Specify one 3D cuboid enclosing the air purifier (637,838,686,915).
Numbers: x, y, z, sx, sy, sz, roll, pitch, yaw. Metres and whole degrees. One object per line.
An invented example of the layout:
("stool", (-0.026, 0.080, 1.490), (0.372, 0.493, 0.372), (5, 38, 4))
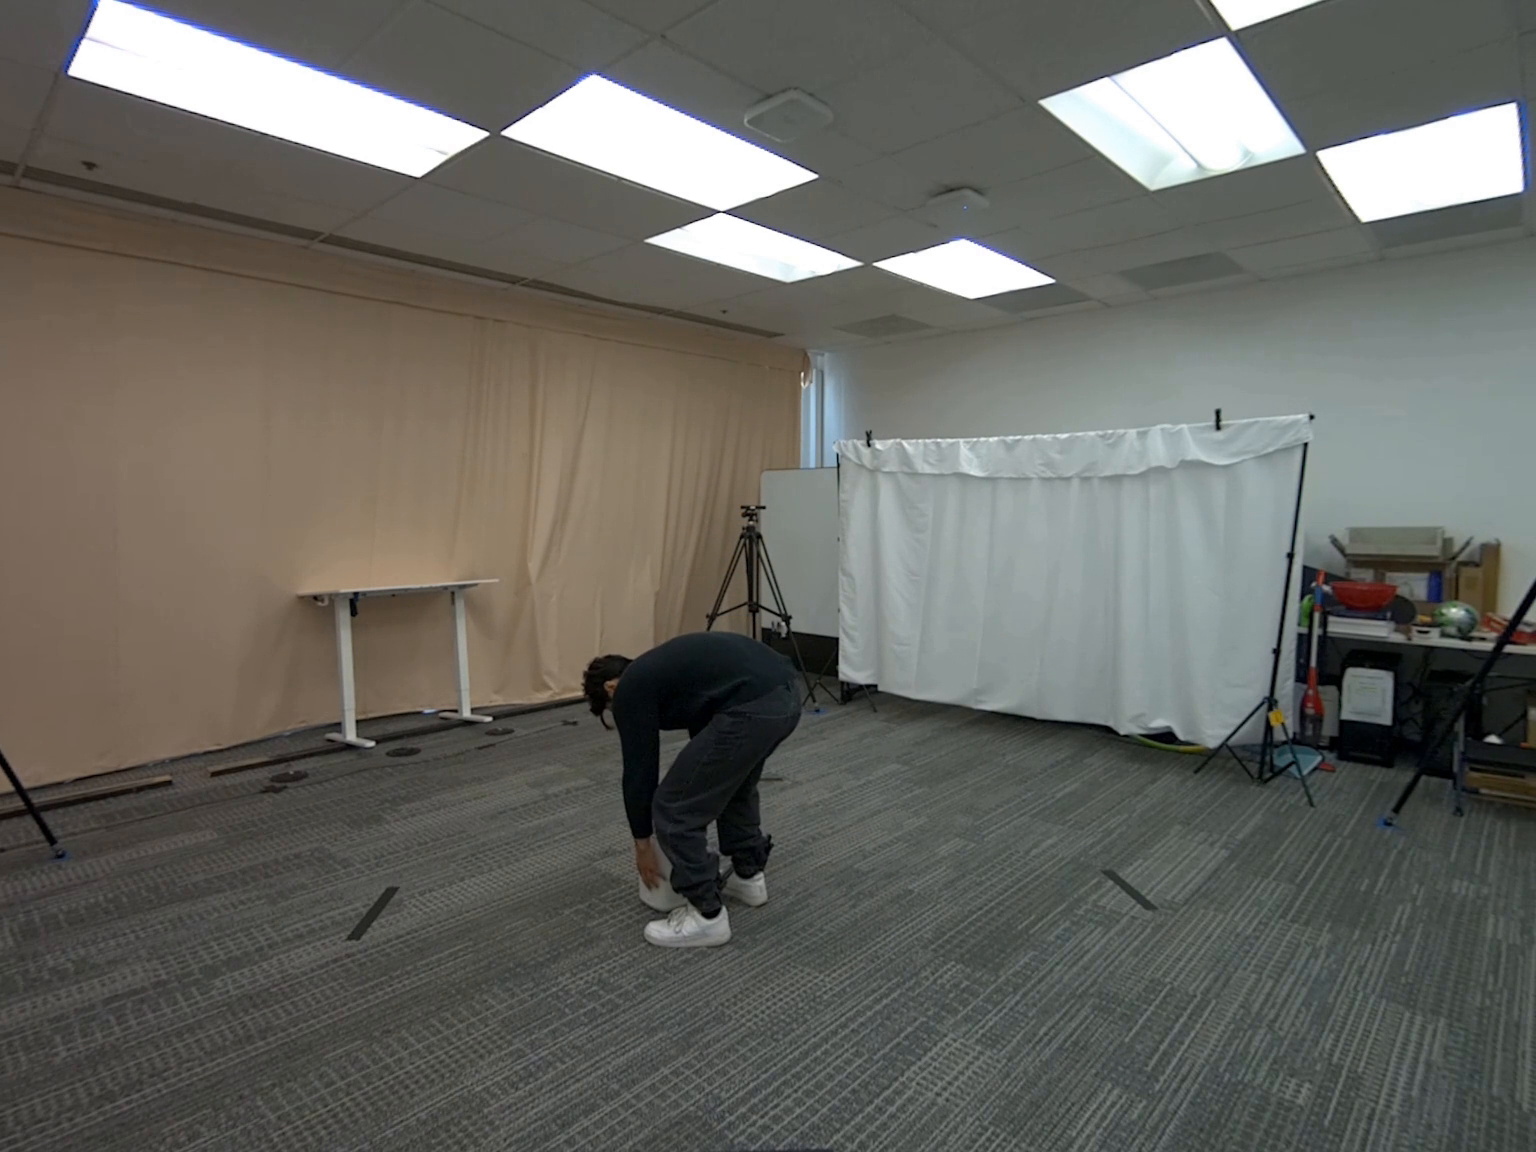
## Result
("air purifier", (-0.353, 1.026, 2.962), (0.166, 0.265, 0.177), (-4, 5, -44))
